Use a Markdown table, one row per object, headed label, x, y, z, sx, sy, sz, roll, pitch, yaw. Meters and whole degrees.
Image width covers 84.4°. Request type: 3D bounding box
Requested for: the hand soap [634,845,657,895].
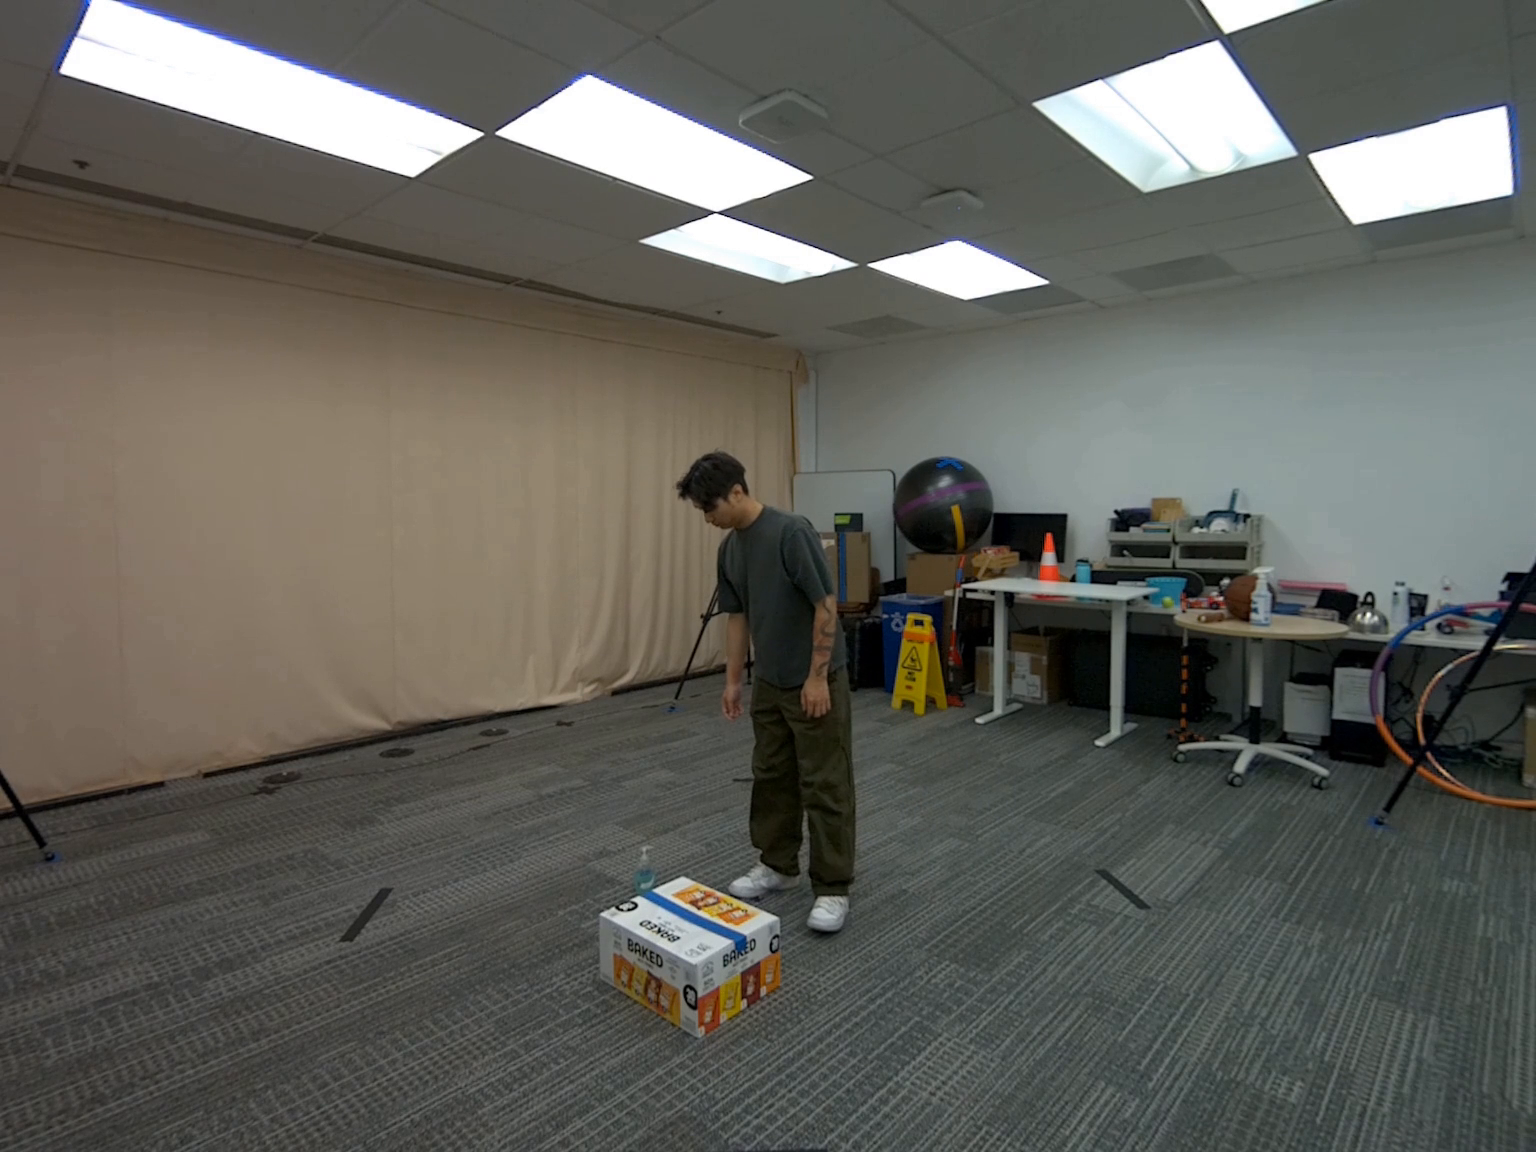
| label | x | y | z | sx | sy | sz | roll | pitch | yaw |
| --- | --- | --- | --- | --- | --- | --- | --- | --- | --- |
| hand soap | -0.443 | 1.070 | 3.038 | 0.082 | 0.168 | 0.044 | -2 | -1 | -25 |
